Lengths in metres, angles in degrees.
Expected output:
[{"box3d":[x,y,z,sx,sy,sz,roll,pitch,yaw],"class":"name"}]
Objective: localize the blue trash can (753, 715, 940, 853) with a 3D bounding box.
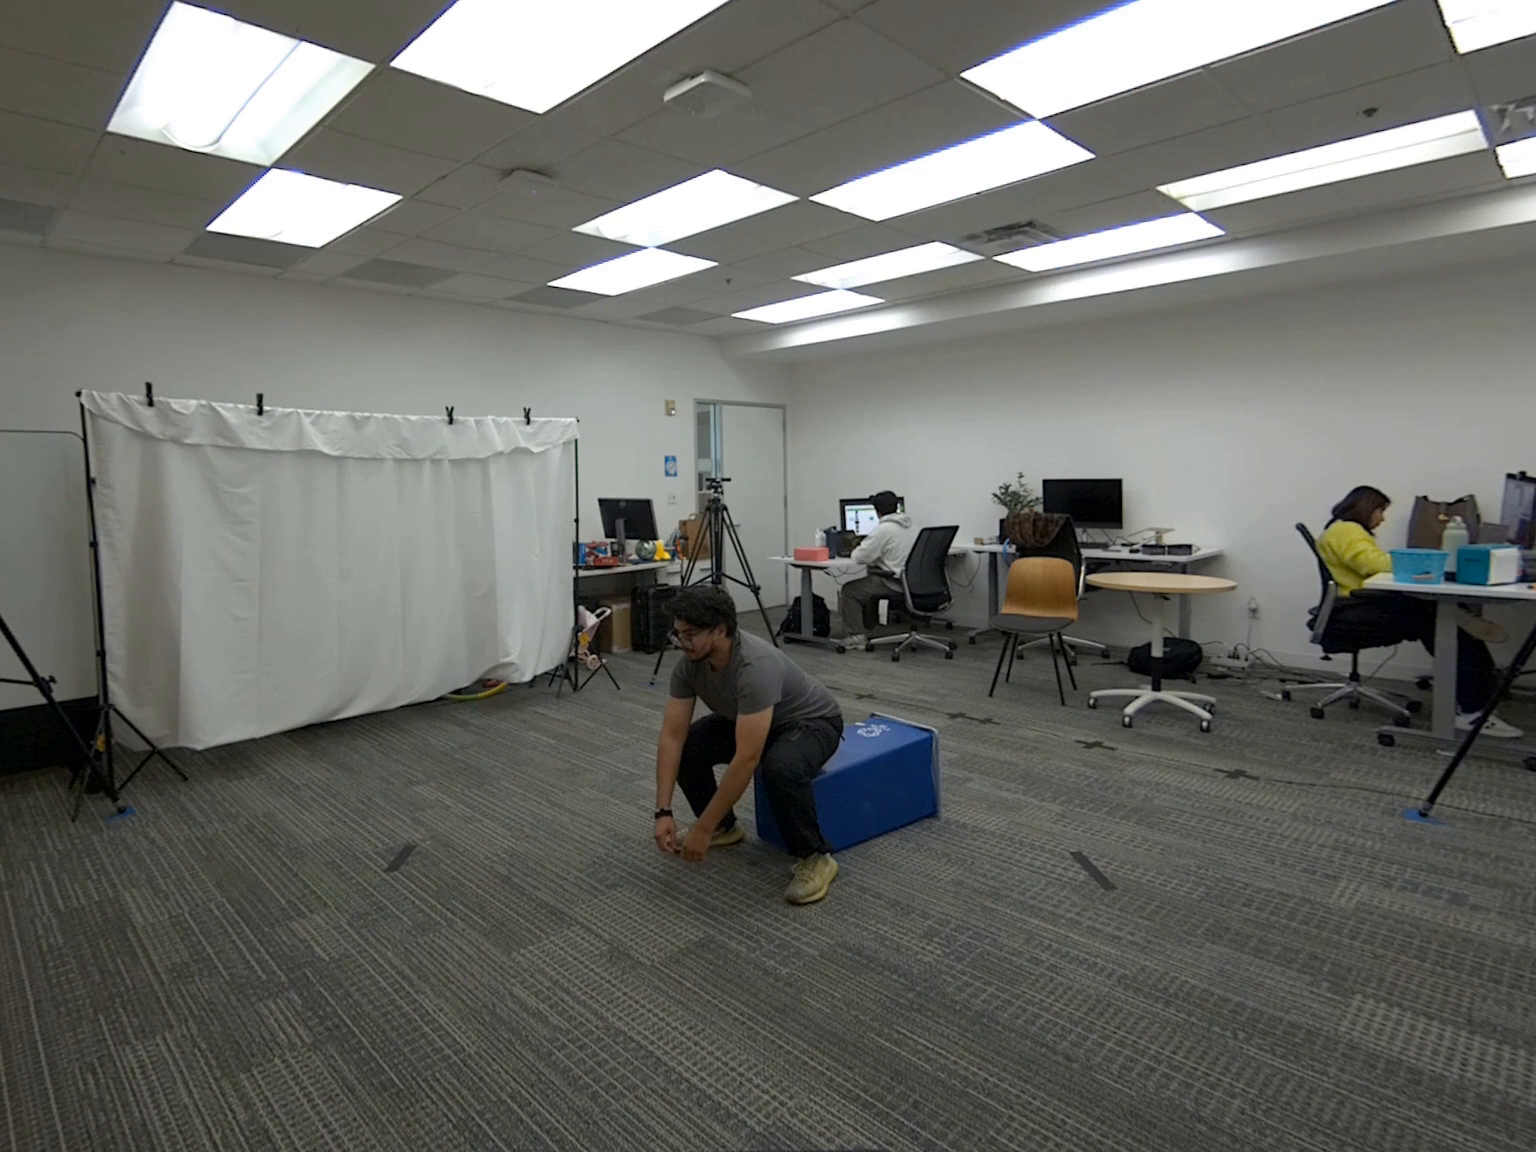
[{"box3d":[0.322,0.824,3.410,0.696,0.372,0.390,-8,8,-39],"class":"blue trash can"}]
